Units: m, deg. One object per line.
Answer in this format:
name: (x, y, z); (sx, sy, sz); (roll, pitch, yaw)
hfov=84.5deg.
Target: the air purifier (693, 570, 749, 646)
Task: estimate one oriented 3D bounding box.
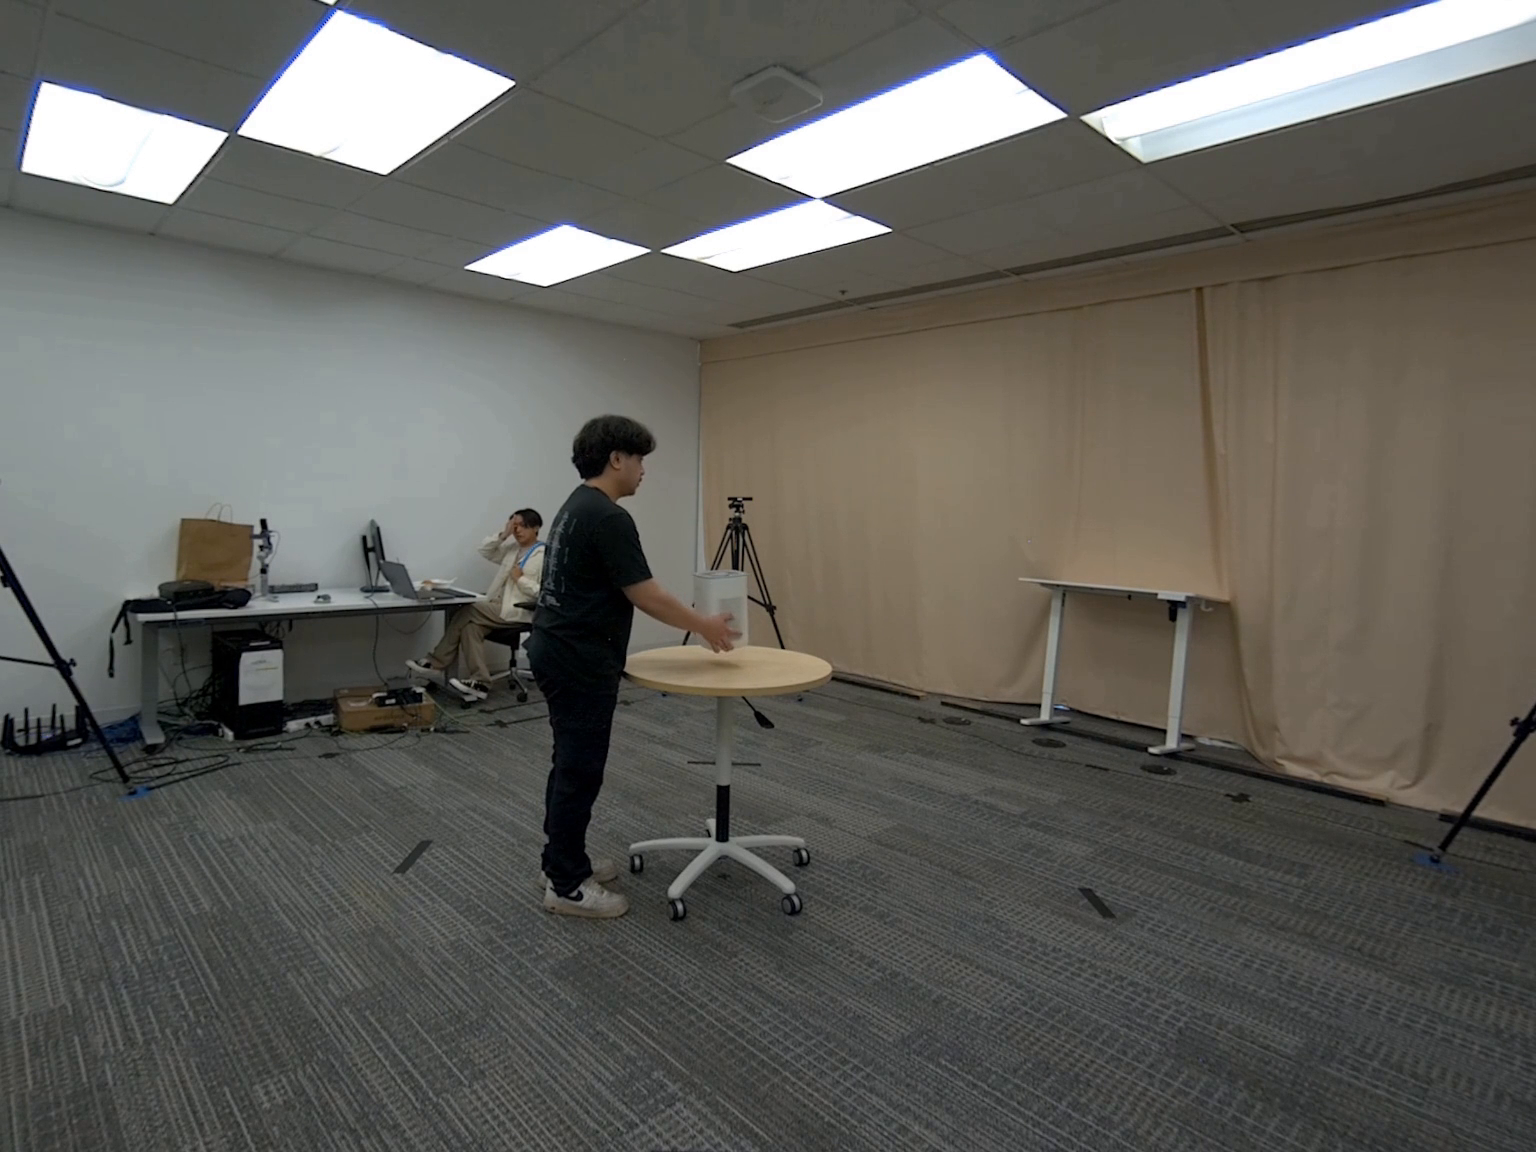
air purifier: (-0.180, 0.120, 3.019); (0.168, 0.264, 0.175); (-6, 6, -30)
